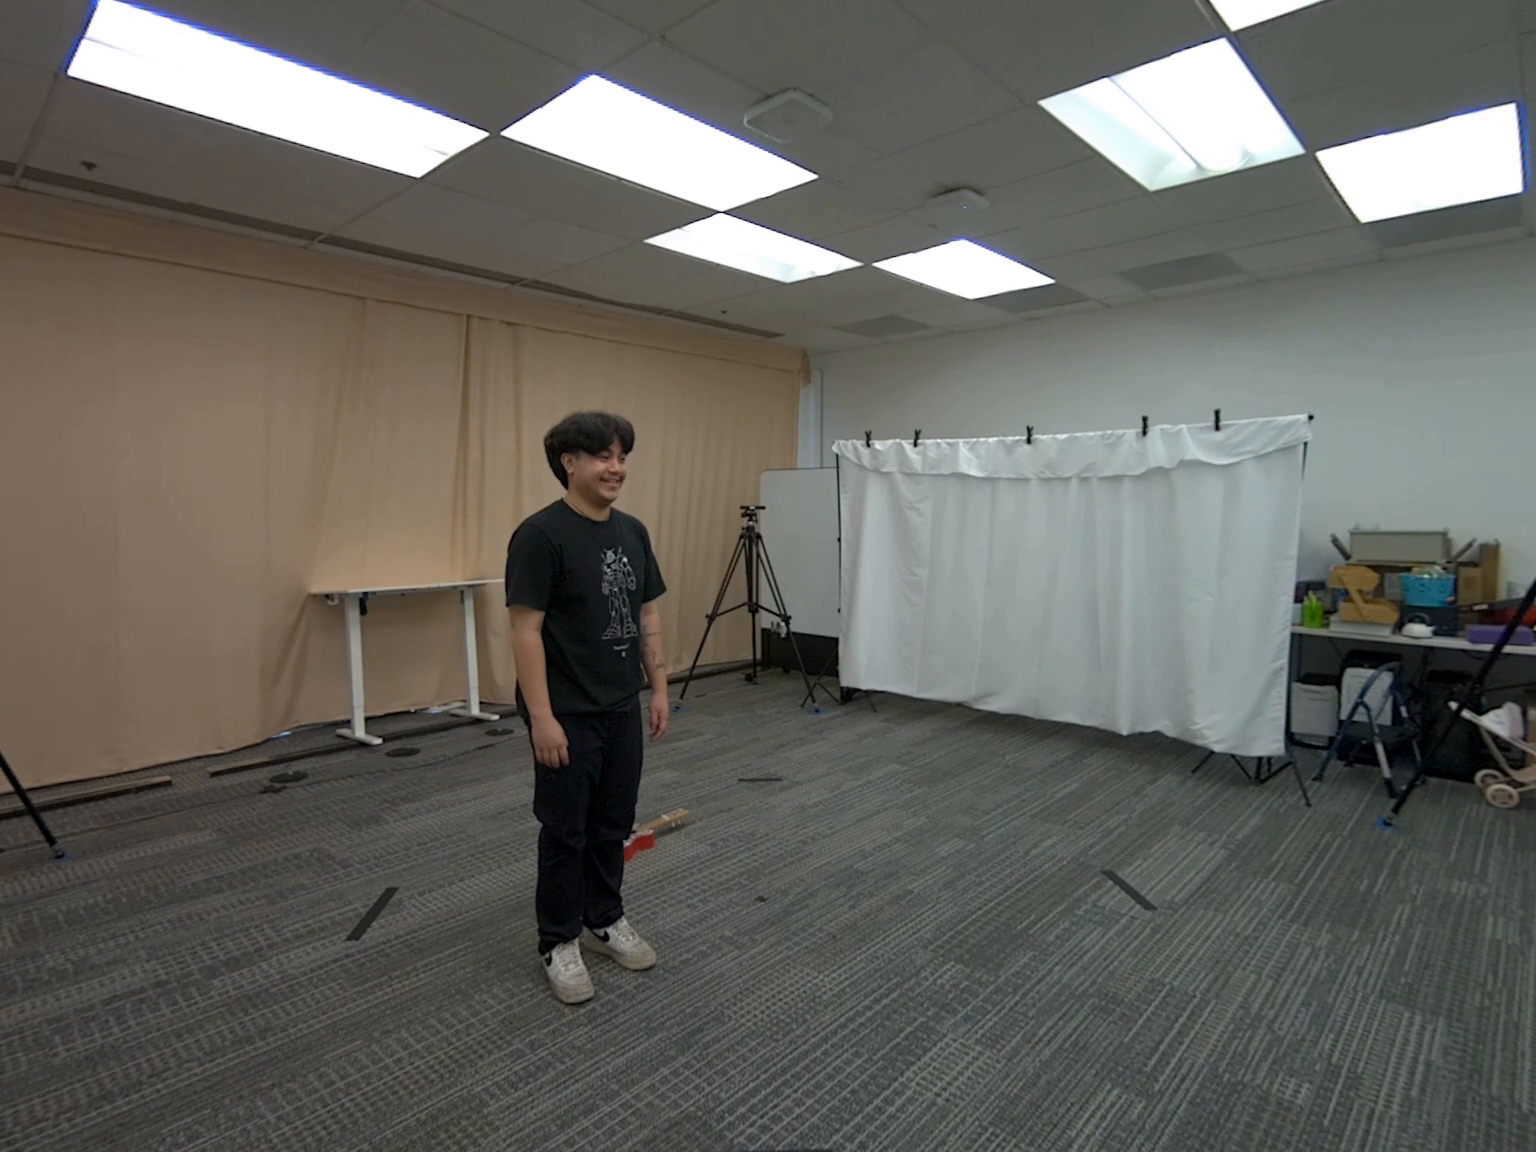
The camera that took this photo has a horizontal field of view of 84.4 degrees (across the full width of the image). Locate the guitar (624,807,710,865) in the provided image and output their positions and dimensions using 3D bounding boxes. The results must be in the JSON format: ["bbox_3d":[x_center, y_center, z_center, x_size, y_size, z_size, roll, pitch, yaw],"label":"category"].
[{"bbox_3d":[-0.500,1.071,3.481,0.483,0.070,0.199,-6,6,-41],"label":"guitar"}]
